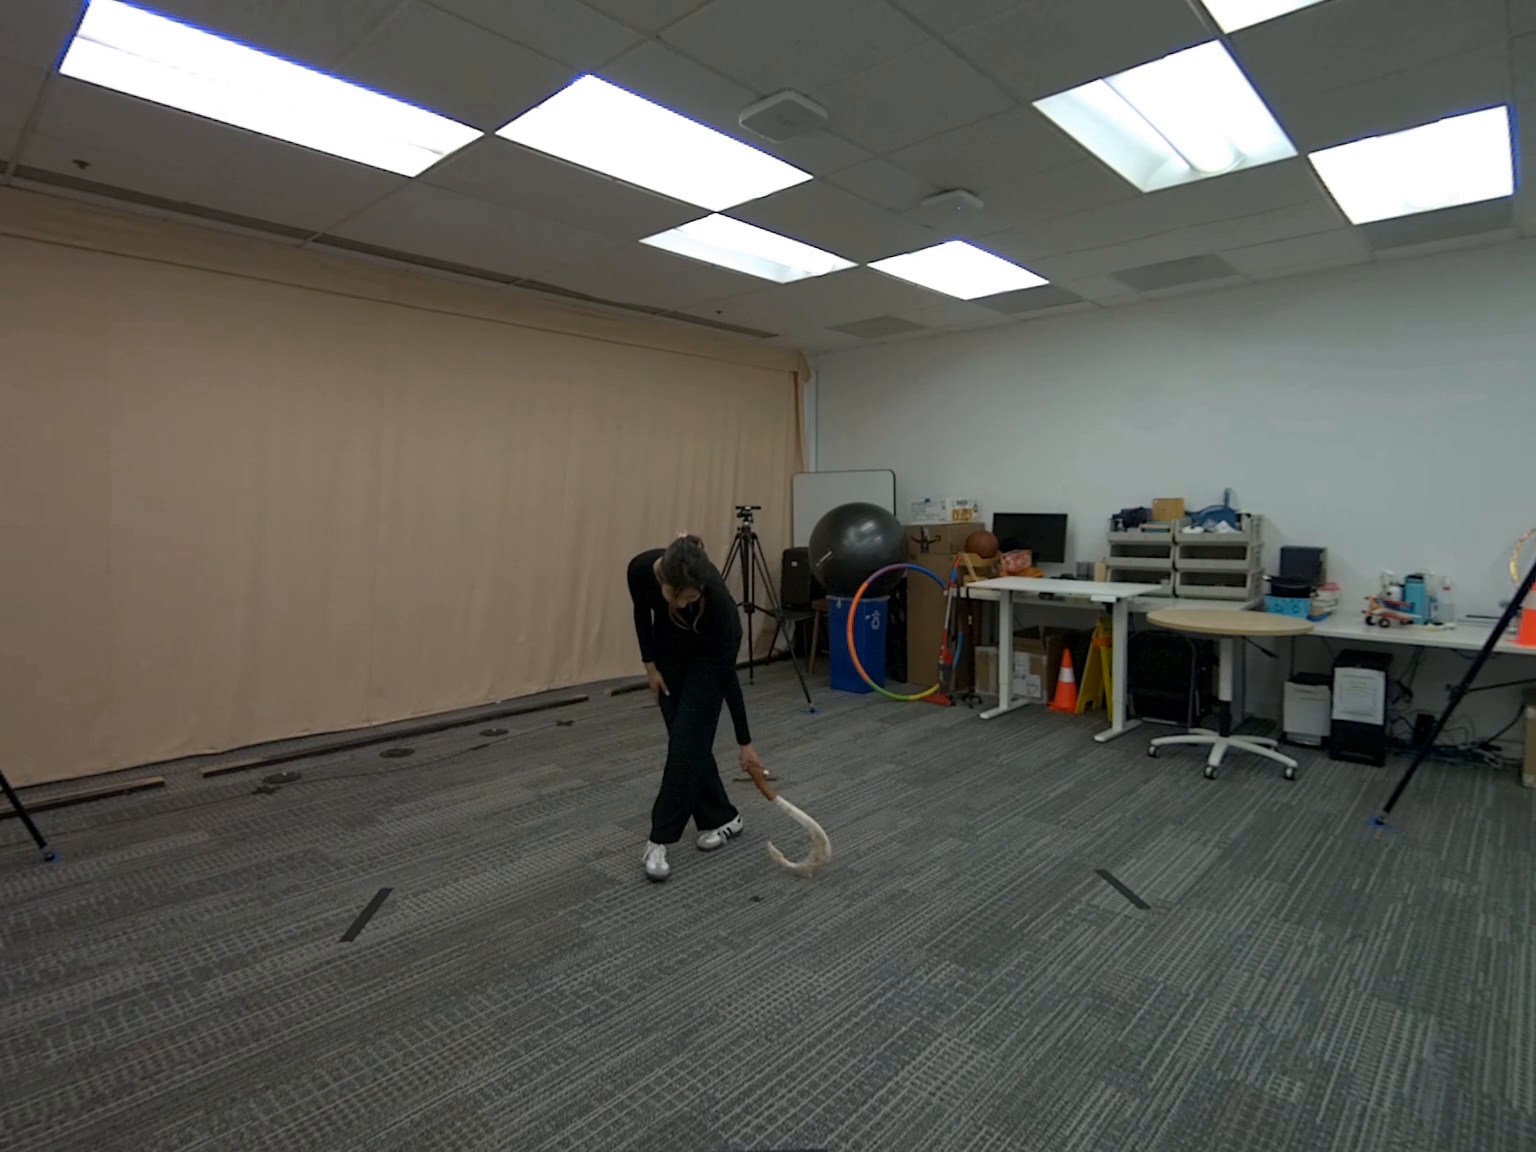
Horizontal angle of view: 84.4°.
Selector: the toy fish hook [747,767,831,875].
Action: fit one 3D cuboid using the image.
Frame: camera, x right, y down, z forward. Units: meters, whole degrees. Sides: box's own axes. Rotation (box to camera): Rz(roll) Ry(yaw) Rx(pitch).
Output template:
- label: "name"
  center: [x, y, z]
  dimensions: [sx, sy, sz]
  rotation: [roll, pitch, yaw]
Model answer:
- label: "toy fish hook"
  center: [0.024, 0.907, 3.180]
  dimensions: [0.225, 0.513, 0.047]
  rotation: [-41, -10, 6]
